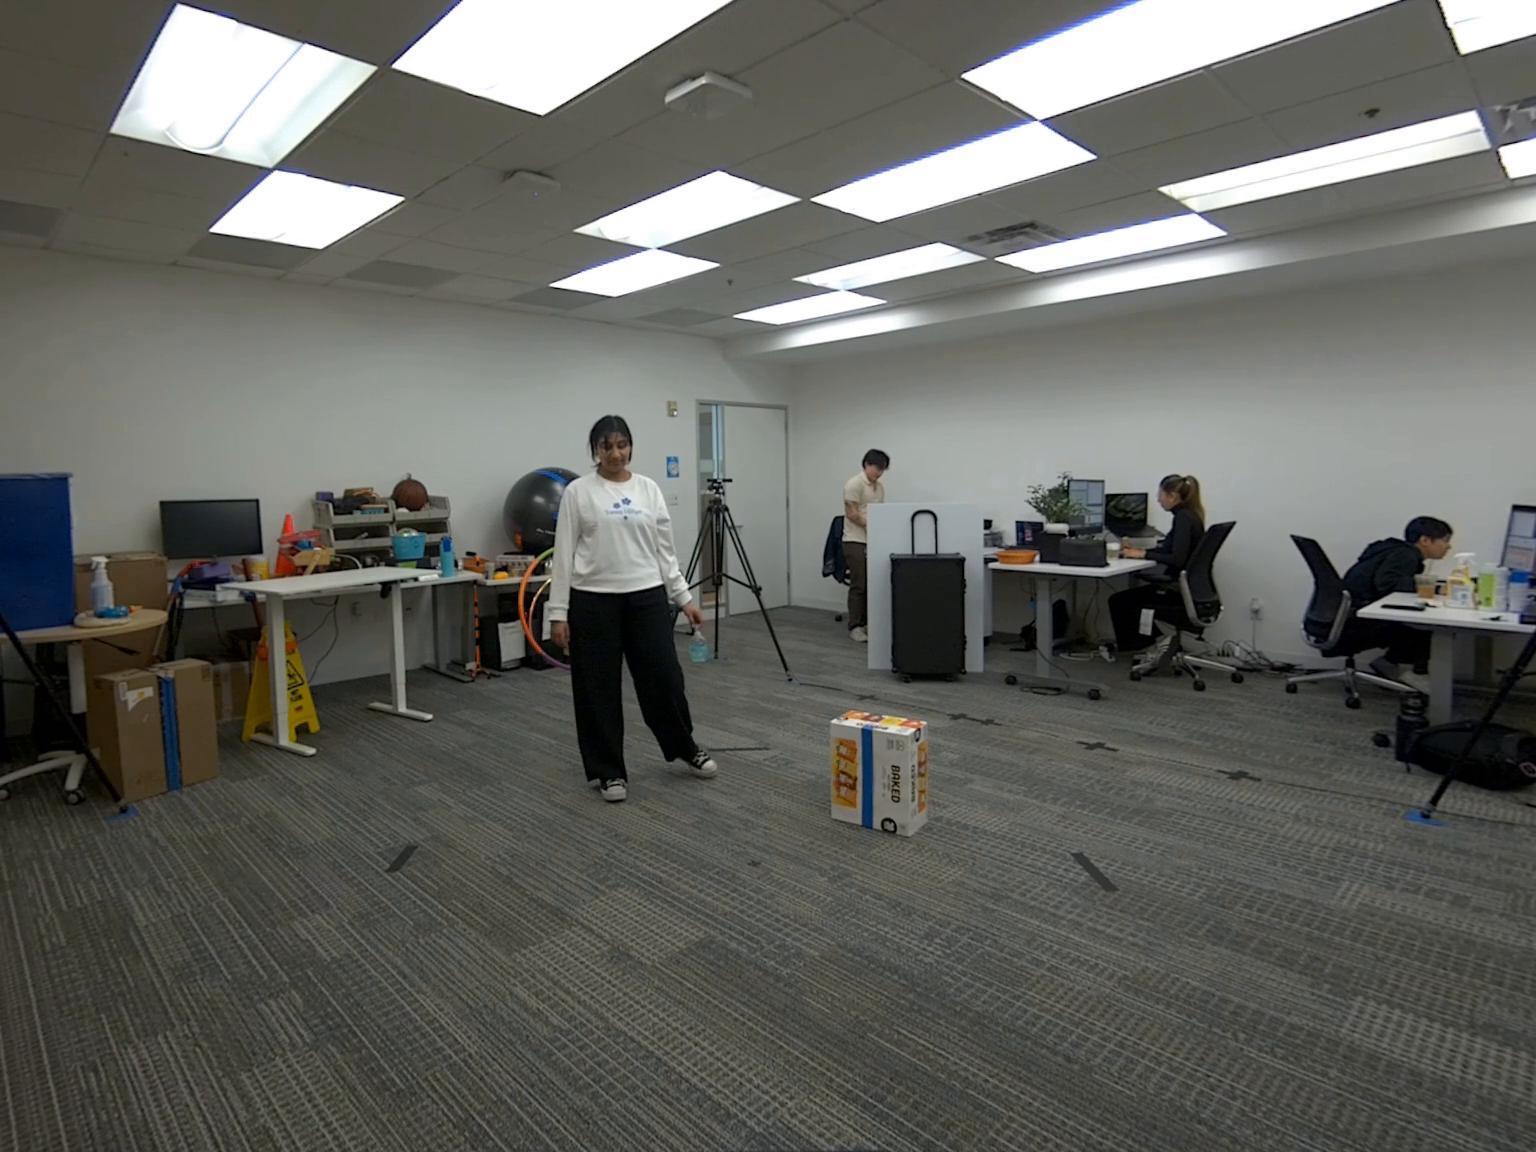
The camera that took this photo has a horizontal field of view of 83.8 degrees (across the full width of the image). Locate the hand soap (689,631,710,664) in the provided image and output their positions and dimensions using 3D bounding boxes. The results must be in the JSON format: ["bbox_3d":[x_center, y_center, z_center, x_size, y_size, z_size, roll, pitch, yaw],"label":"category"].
[{"bbox_3d":[-0.327,0.304,3.914,0.085,0.167,0.043,-1,7,3],"label":"hand soap"}]
